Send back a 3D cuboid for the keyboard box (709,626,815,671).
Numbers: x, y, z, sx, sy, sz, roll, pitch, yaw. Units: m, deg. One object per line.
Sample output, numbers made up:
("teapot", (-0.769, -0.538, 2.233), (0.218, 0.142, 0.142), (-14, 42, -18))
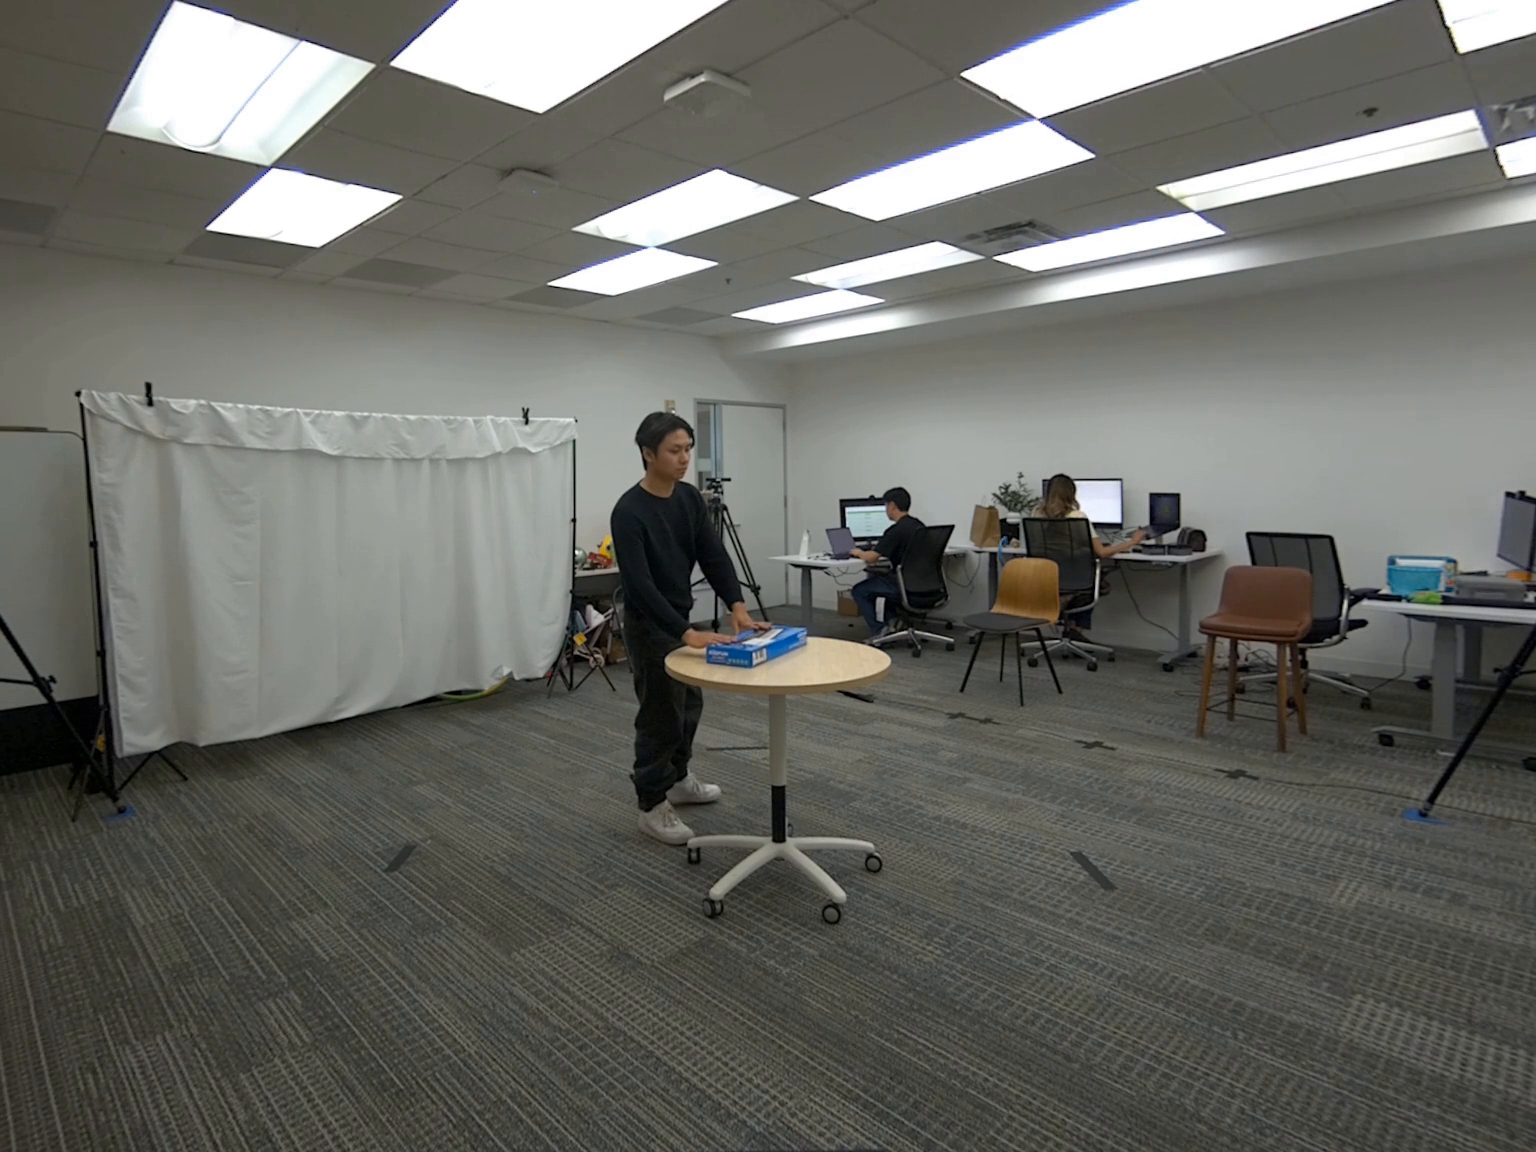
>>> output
("keyboard box", (-0.014, 0.244, 2.981), (0.180, 0.059, 0.427), (2, 7, 29))
